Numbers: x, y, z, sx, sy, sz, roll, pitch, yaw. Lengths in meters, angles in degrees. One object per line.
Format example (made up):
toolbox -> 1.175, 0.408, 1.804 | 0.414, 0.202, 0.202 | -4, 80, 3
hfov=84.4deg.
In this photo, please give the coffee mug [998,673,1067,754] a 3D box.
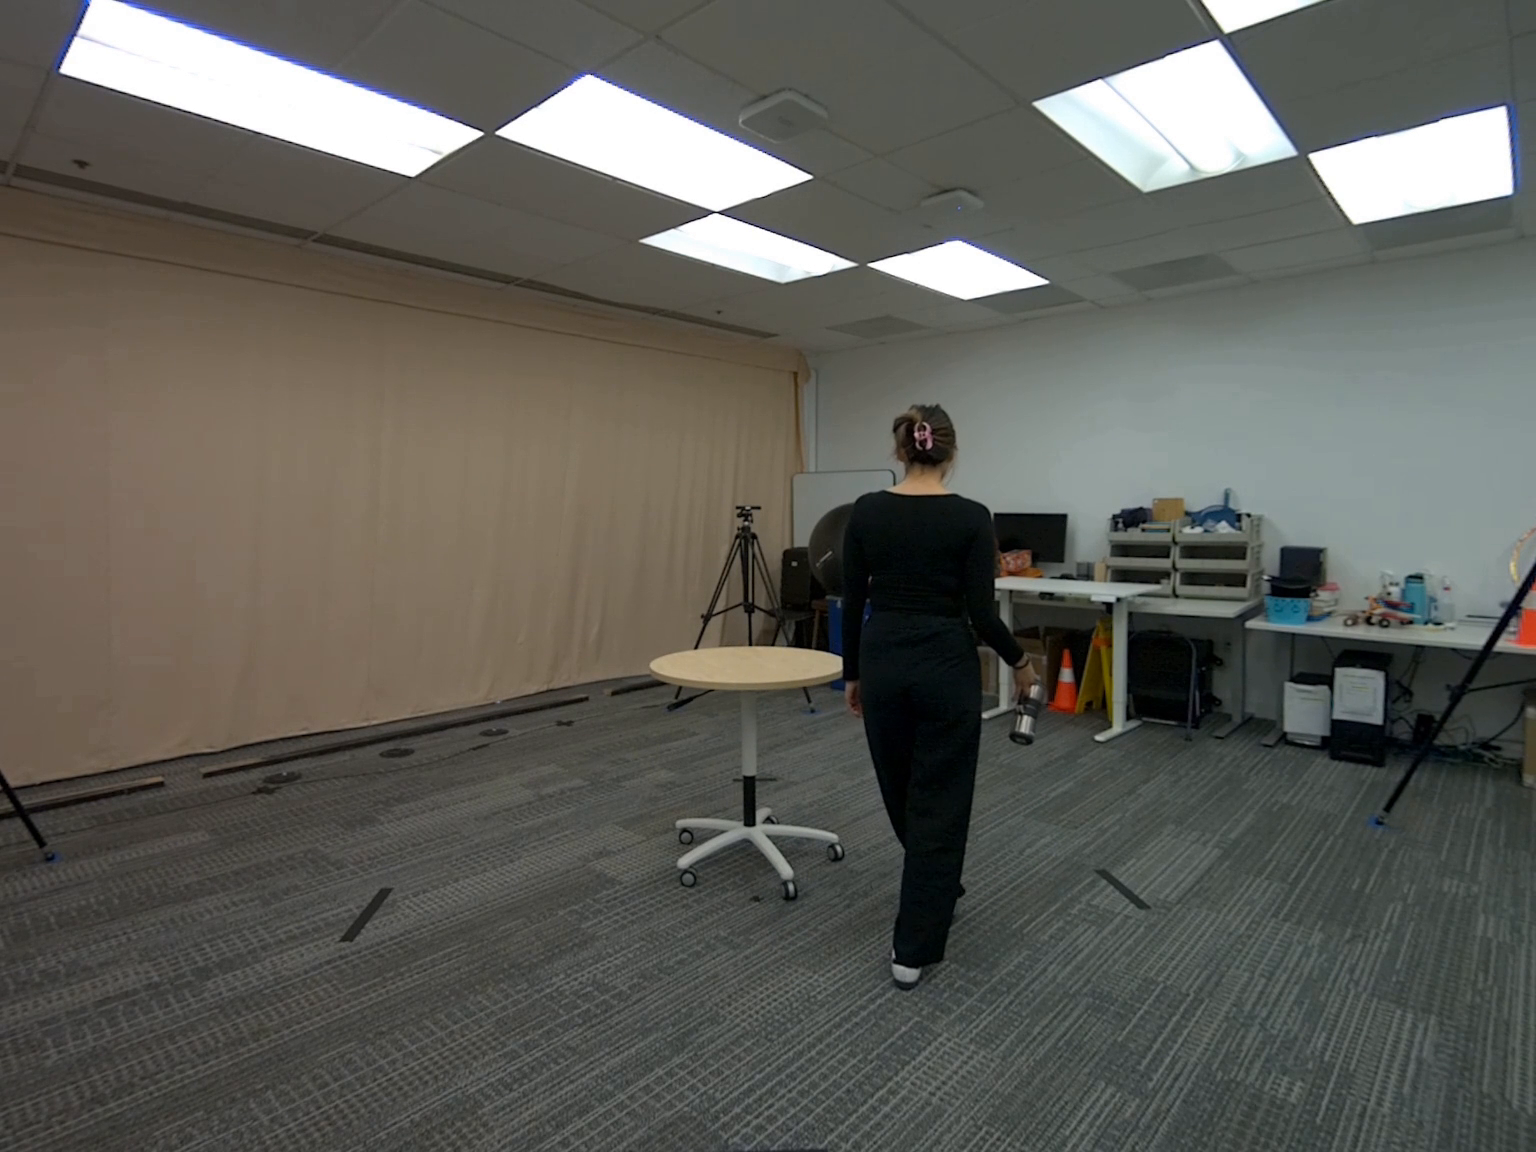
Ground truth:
coffee mug -> 0.822, 0.426, 2.639 | 0.121, 0.203, 0.088 | 31, -25, -7
